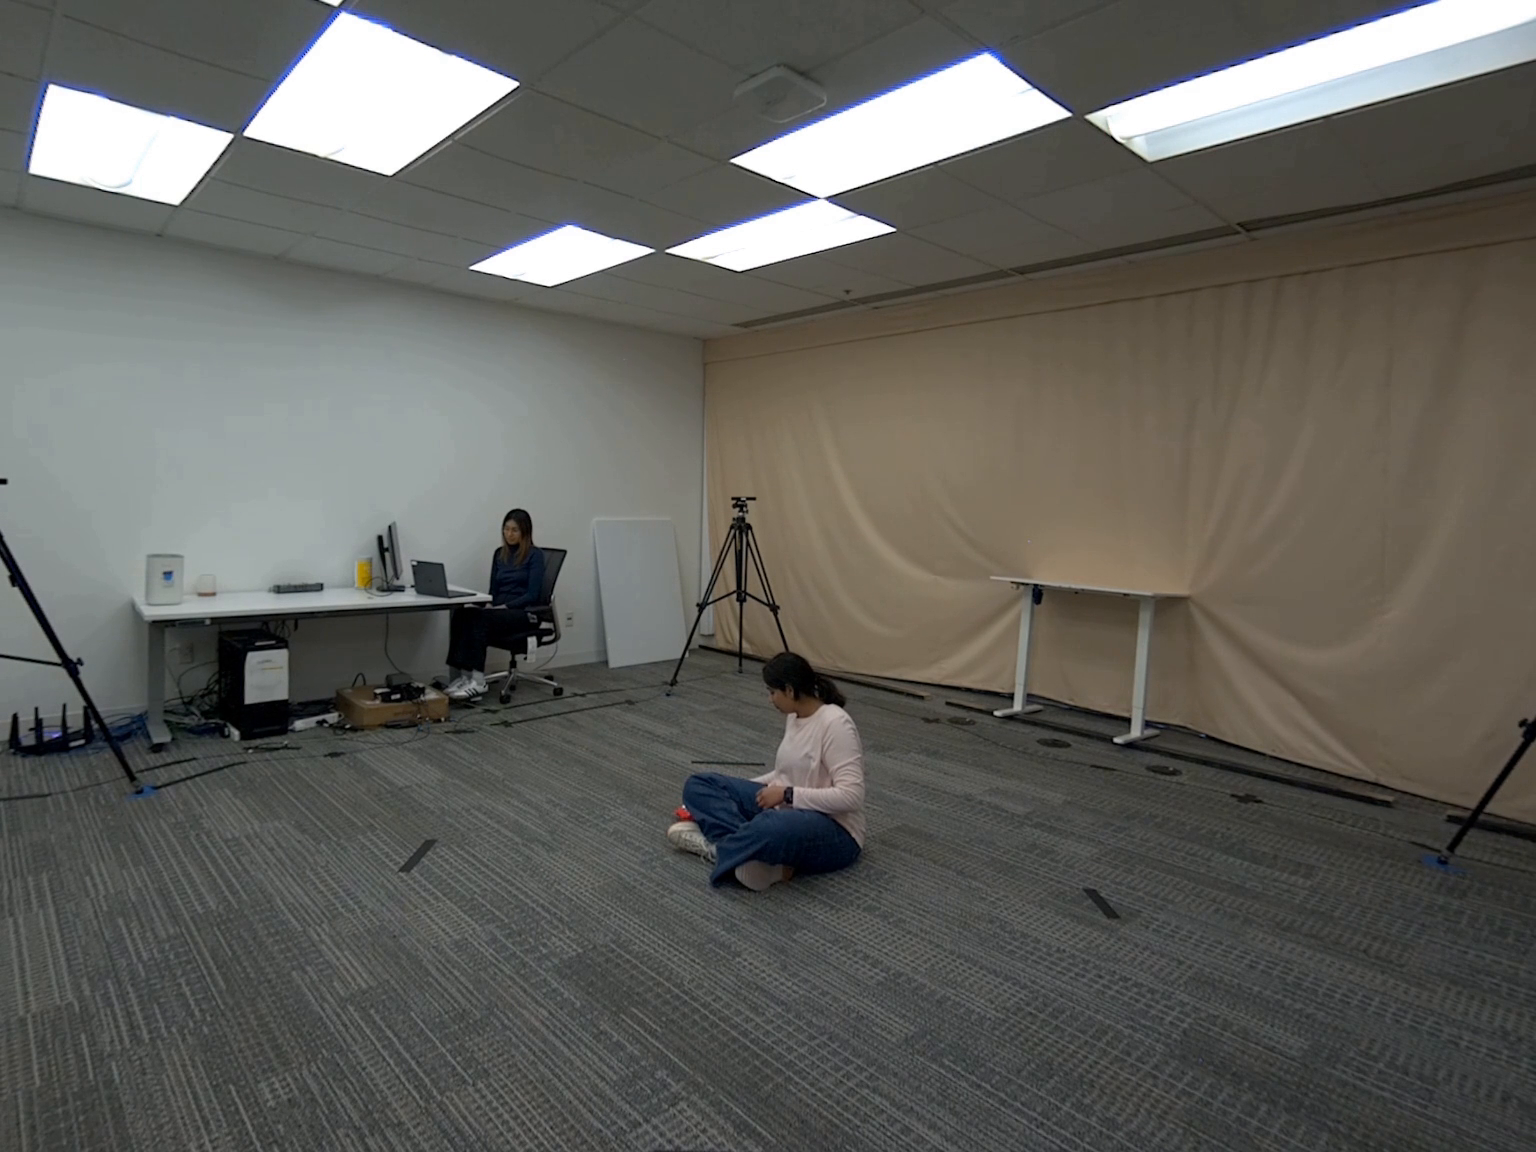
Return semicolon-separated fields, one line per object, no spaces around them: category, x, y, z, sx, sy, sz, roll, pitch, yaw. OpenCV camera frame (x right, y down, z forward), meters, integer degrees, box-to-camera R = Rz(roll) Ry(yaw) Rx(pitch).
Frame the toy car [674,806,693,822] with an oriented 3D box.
toy car;-0.293;1.006;3.680;0.249;0.083;0.133;-8;8;-38
